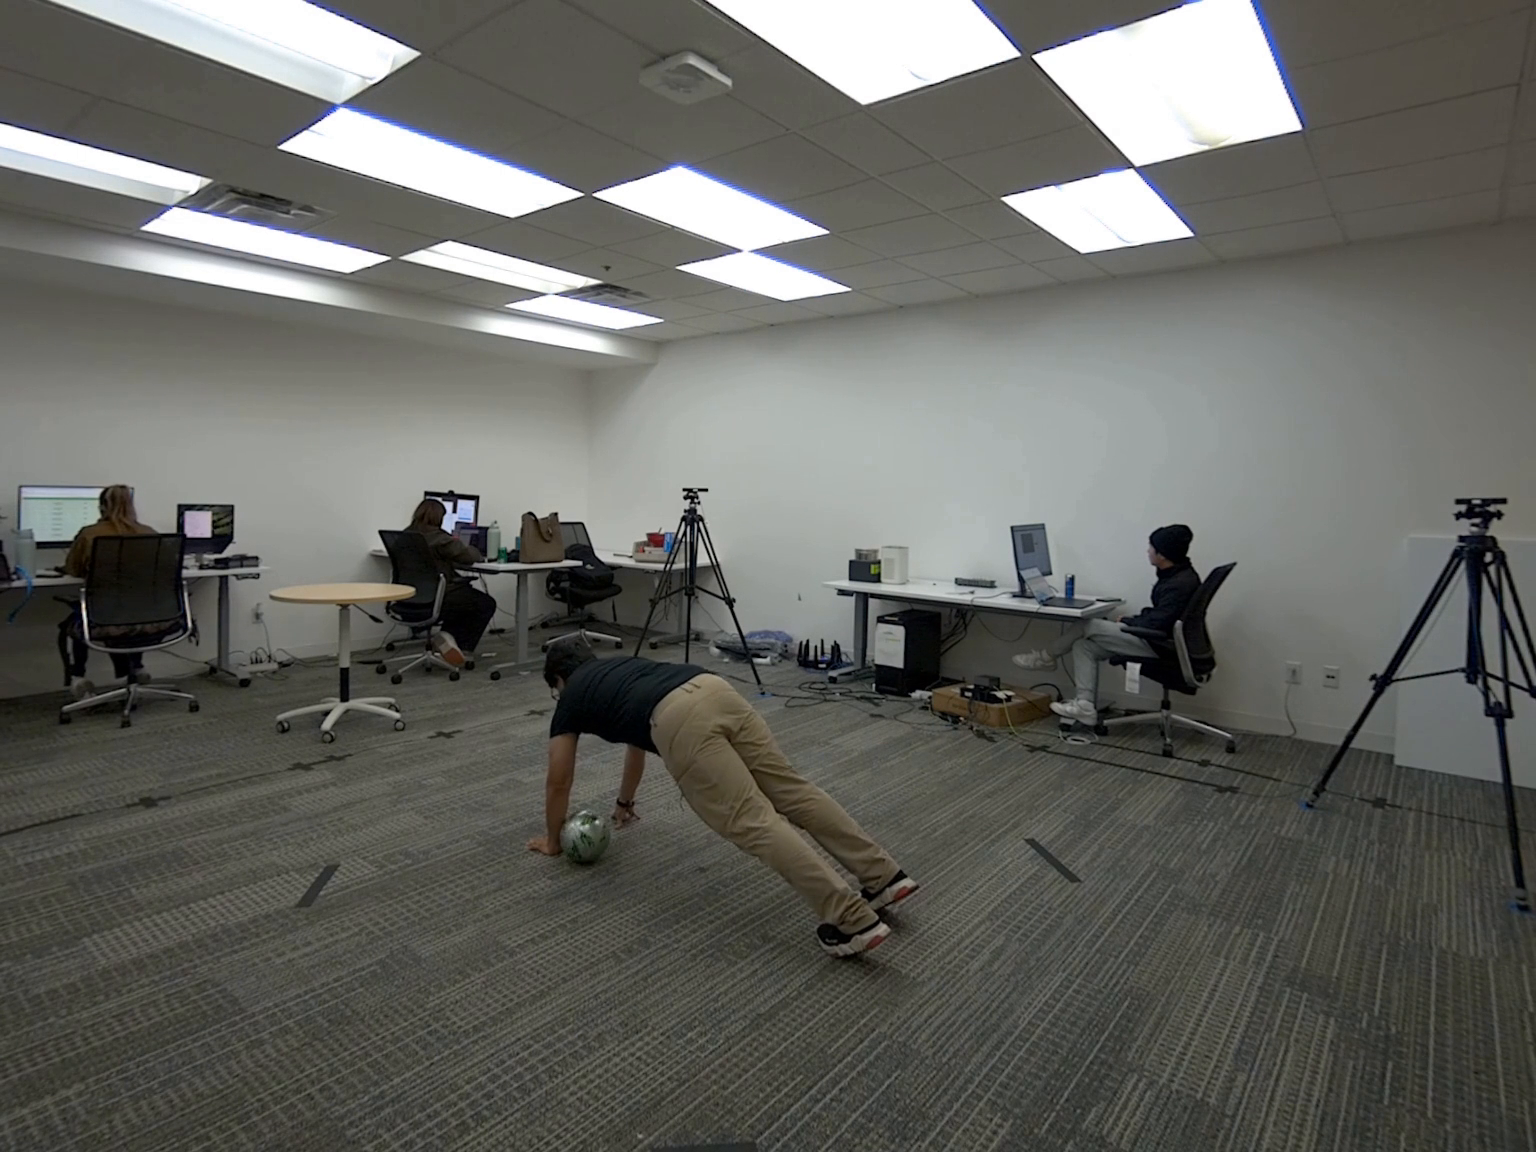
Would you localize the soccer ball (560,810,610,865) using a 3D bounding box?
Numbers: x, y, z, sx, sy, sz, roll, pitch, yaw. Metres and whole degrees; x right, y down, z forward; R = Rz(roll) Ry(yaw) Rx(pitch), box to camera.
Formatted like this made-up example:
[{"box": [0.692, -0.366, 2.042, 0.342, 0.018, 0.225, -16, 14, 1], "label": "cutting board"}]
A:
[{"box": [-0.679, 0.970, 3.162, 0.187, 0.187, 0.188, 1, 4, -2], "label": "soccer ball"}]
